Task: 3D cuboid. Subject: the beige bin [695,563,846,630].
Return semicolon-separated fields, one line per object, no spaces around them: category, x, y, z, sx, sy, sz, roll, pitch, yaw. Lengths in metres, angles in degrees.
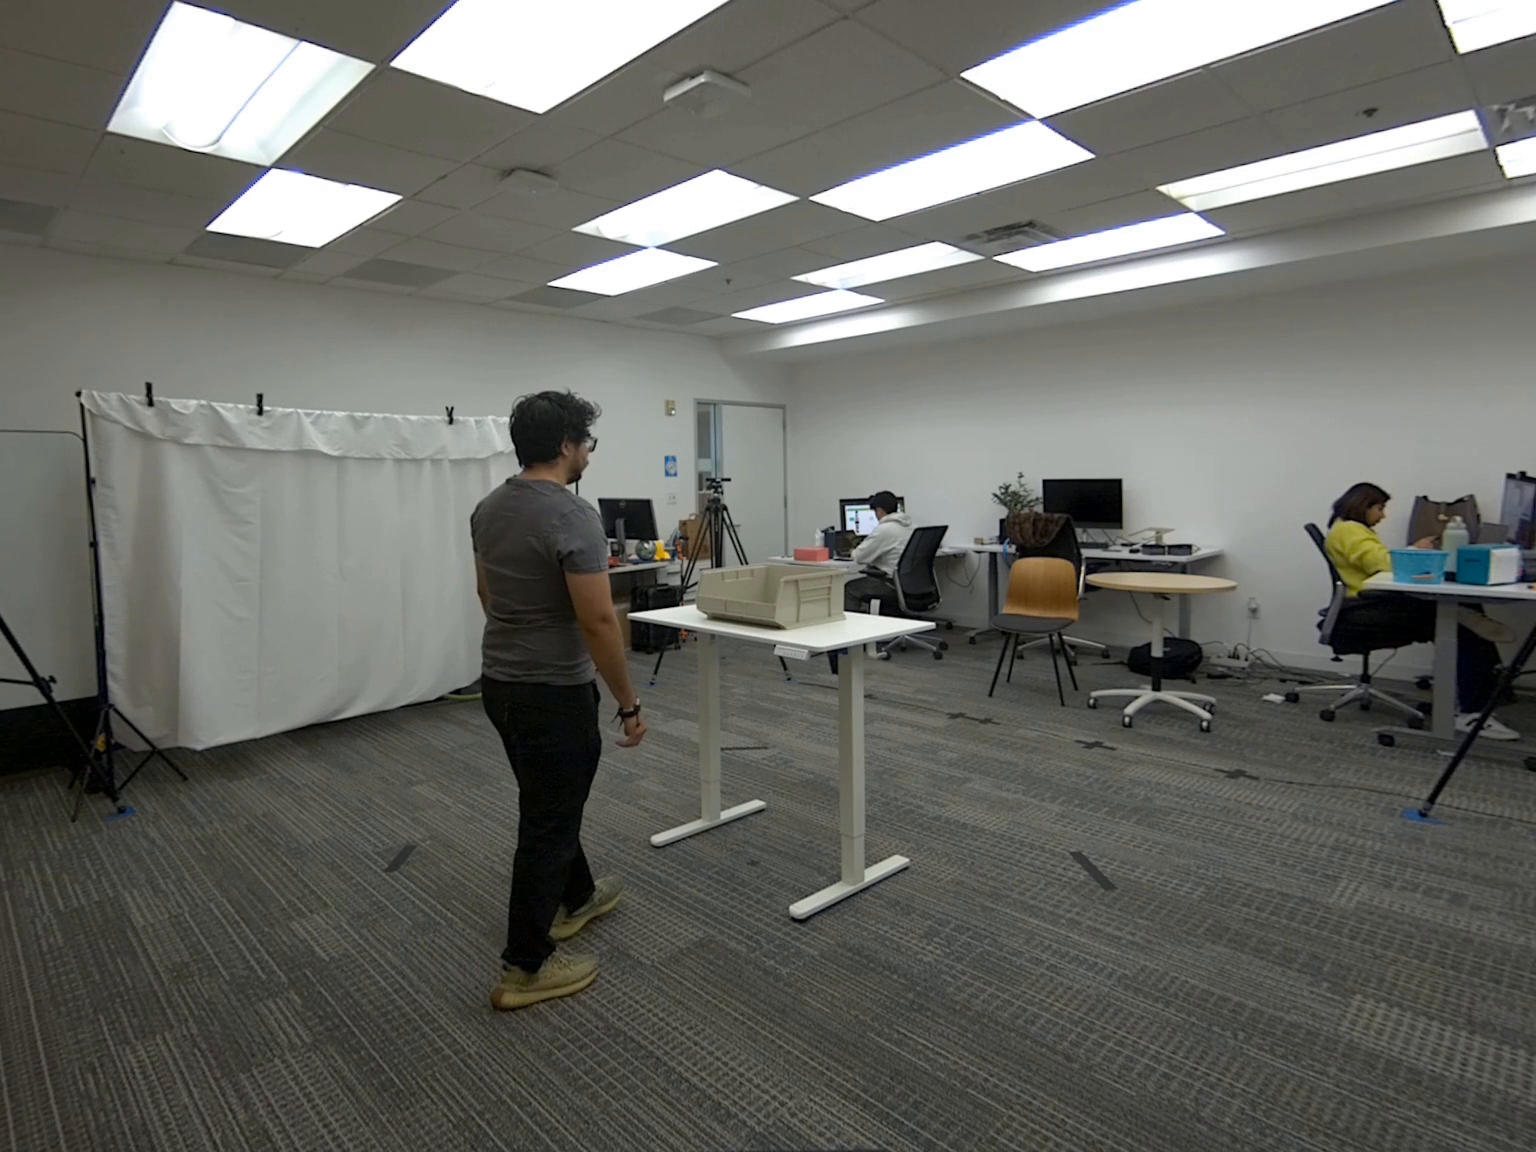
beige bin;0.012;0.069;3.097;0.367;0.188;0.435;-5;6;-43
